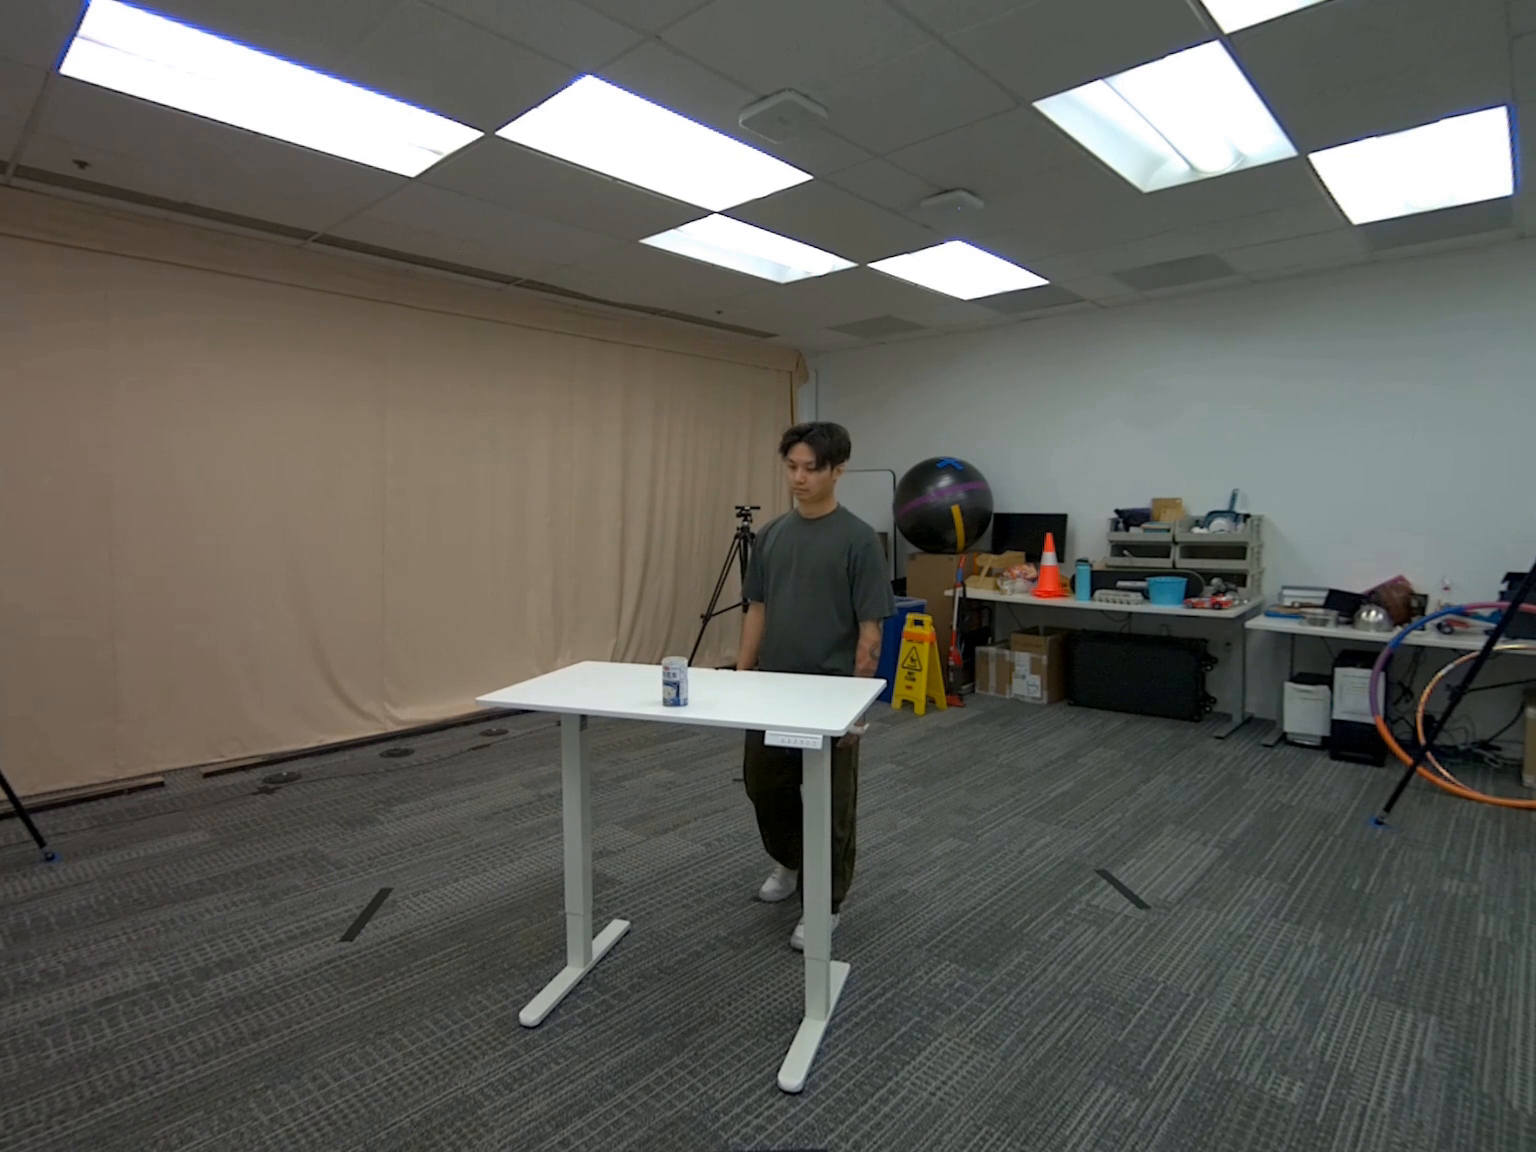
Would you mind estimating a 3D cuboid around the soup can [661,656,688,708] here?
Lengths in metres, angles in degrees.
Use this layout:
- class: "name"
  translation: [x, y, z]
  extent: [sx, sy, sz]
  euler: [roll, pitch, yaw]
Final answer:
- class: "soup can"
  translation: [-0.232, 0.274, 2.162]
  extent: [0.067, 0.121, 0.067]
  euler: [0, 6, -2]
